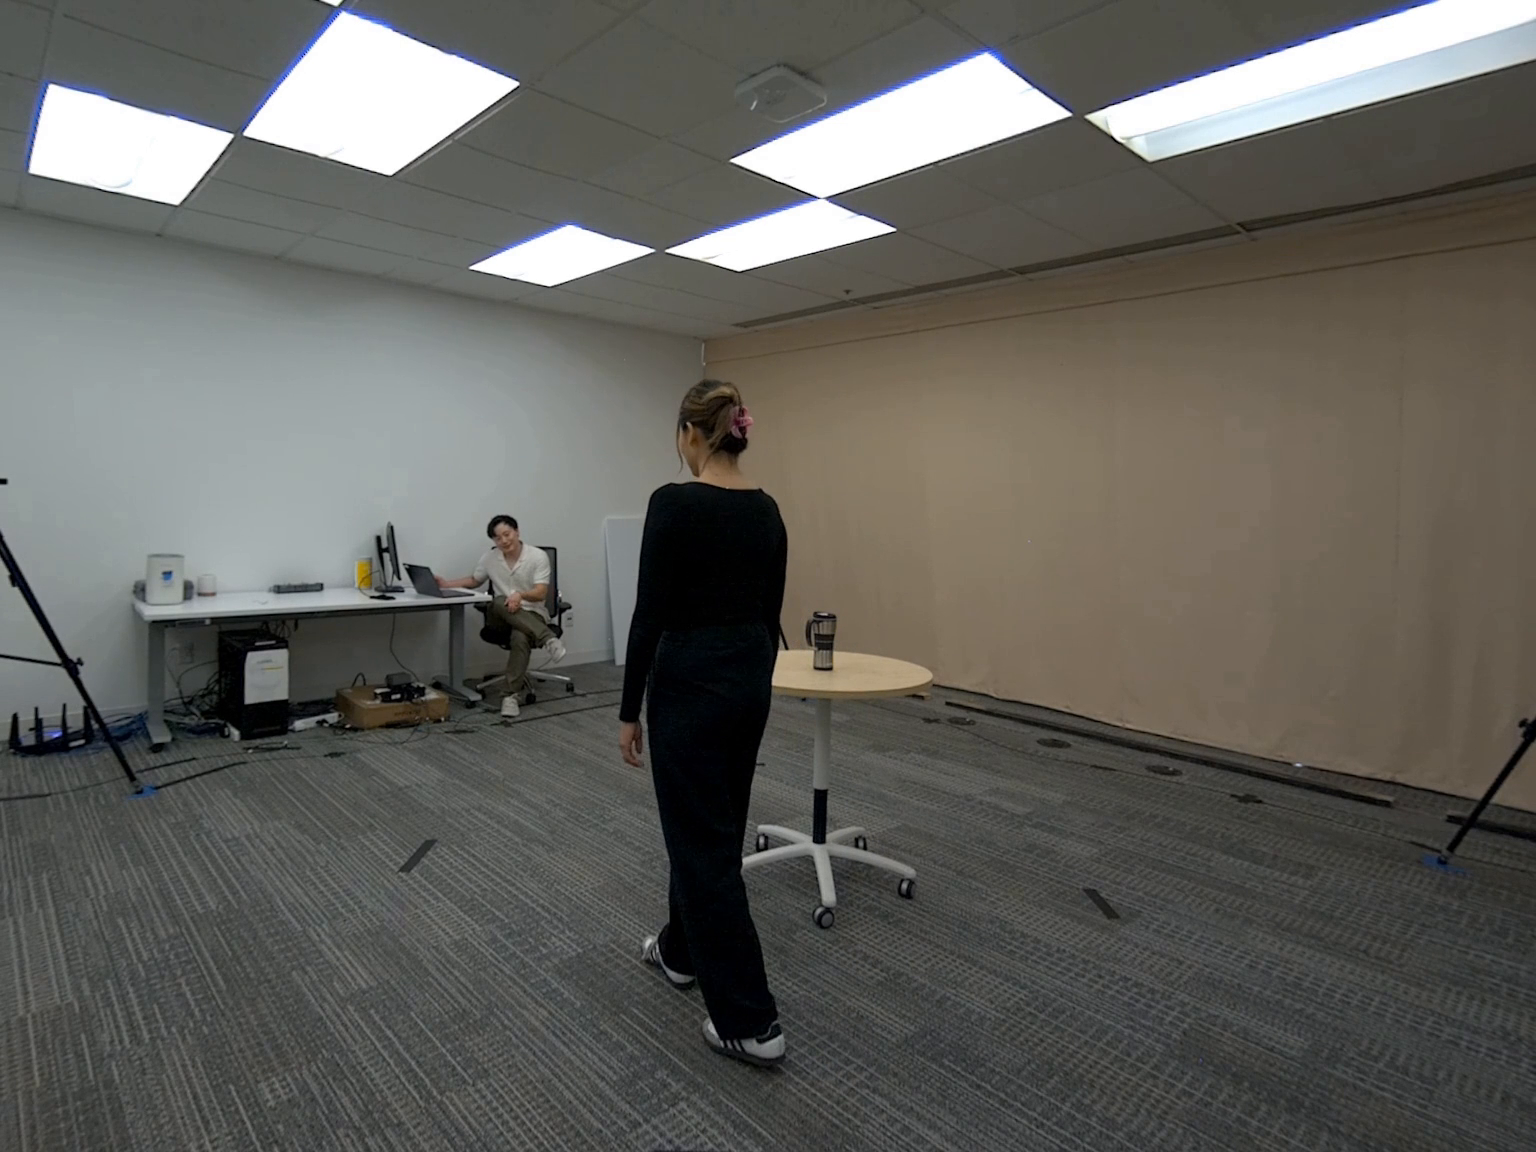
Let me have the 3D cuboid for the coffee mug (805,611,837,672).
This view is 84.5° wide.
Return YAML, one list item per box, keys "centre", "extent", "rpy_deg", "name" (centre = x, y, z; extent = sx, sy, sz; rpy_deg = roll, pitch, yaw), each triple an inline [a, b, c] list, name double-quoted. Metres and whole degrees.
- centre: [0.189, 0.238, 3.051]
  extent: [0.086, 0.202, 0.125]
  rpy_deg: [-5, 10, -29]
  name: "coffee mug"
